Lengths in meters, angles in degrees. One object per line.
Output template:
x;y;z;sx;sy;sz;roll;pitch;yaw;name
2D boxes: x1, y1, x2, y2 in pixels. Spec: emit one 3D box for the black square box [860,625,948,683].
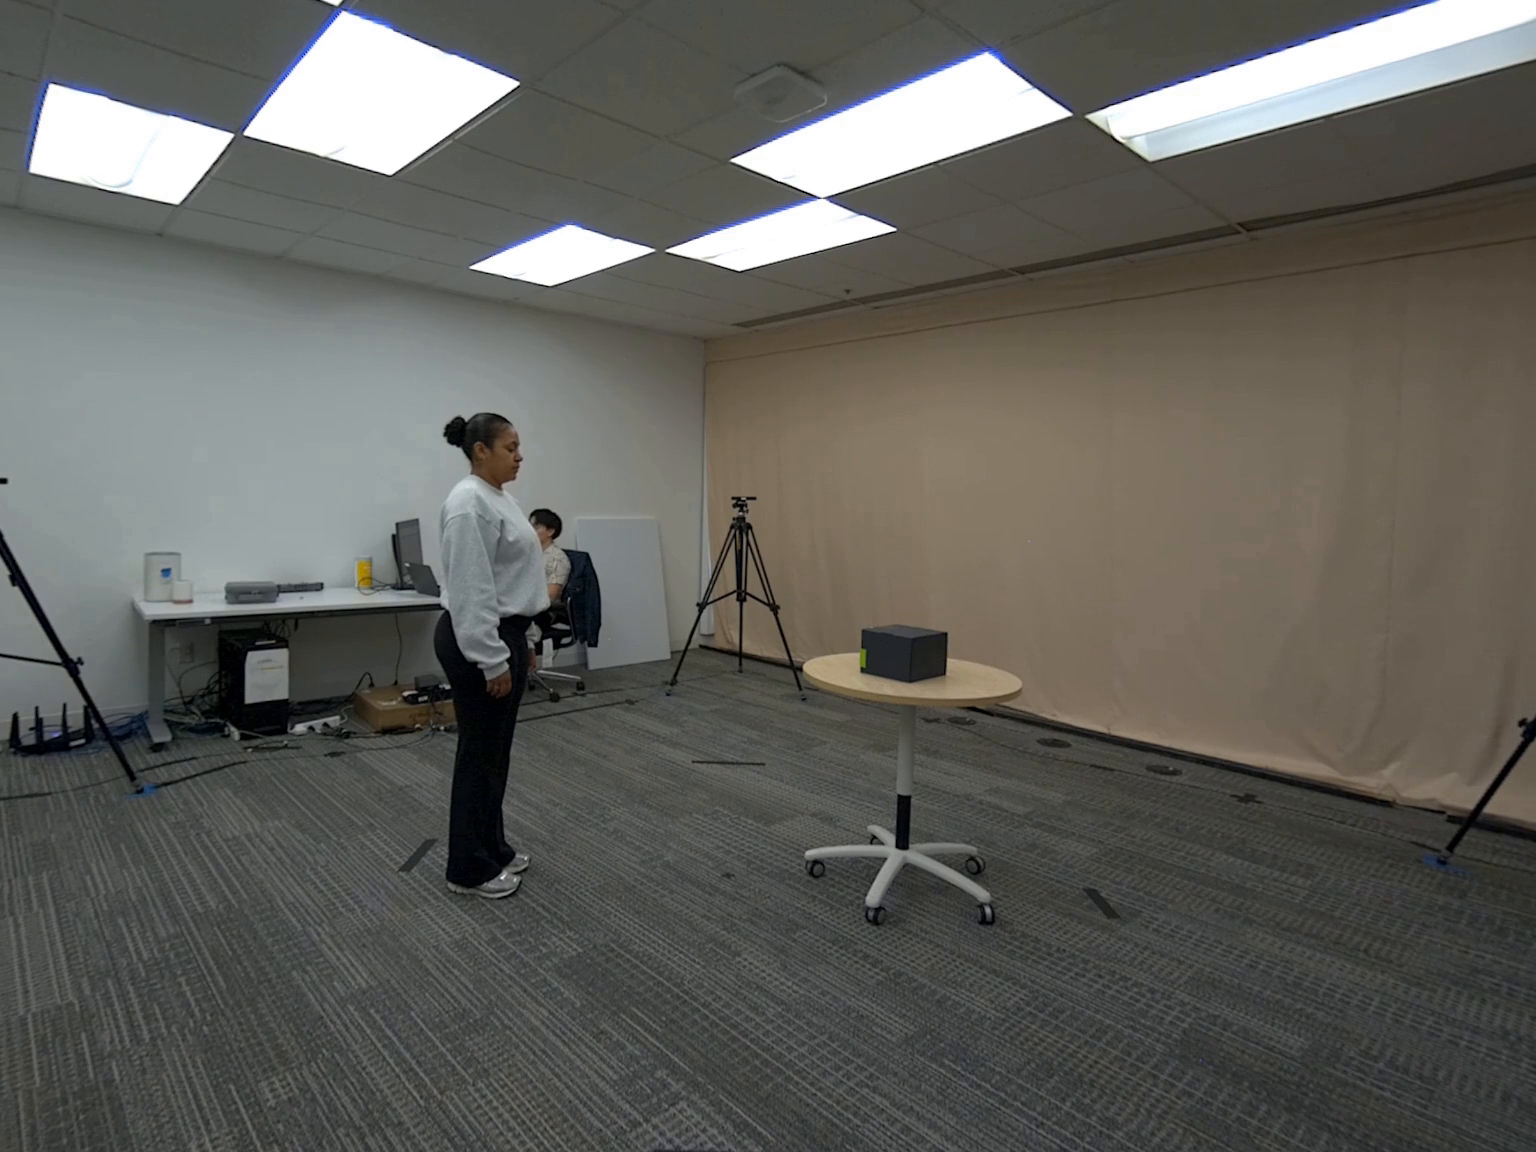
0.474;0.269;2.991;0.222;0.155;0.223;6;6;44;black square box
